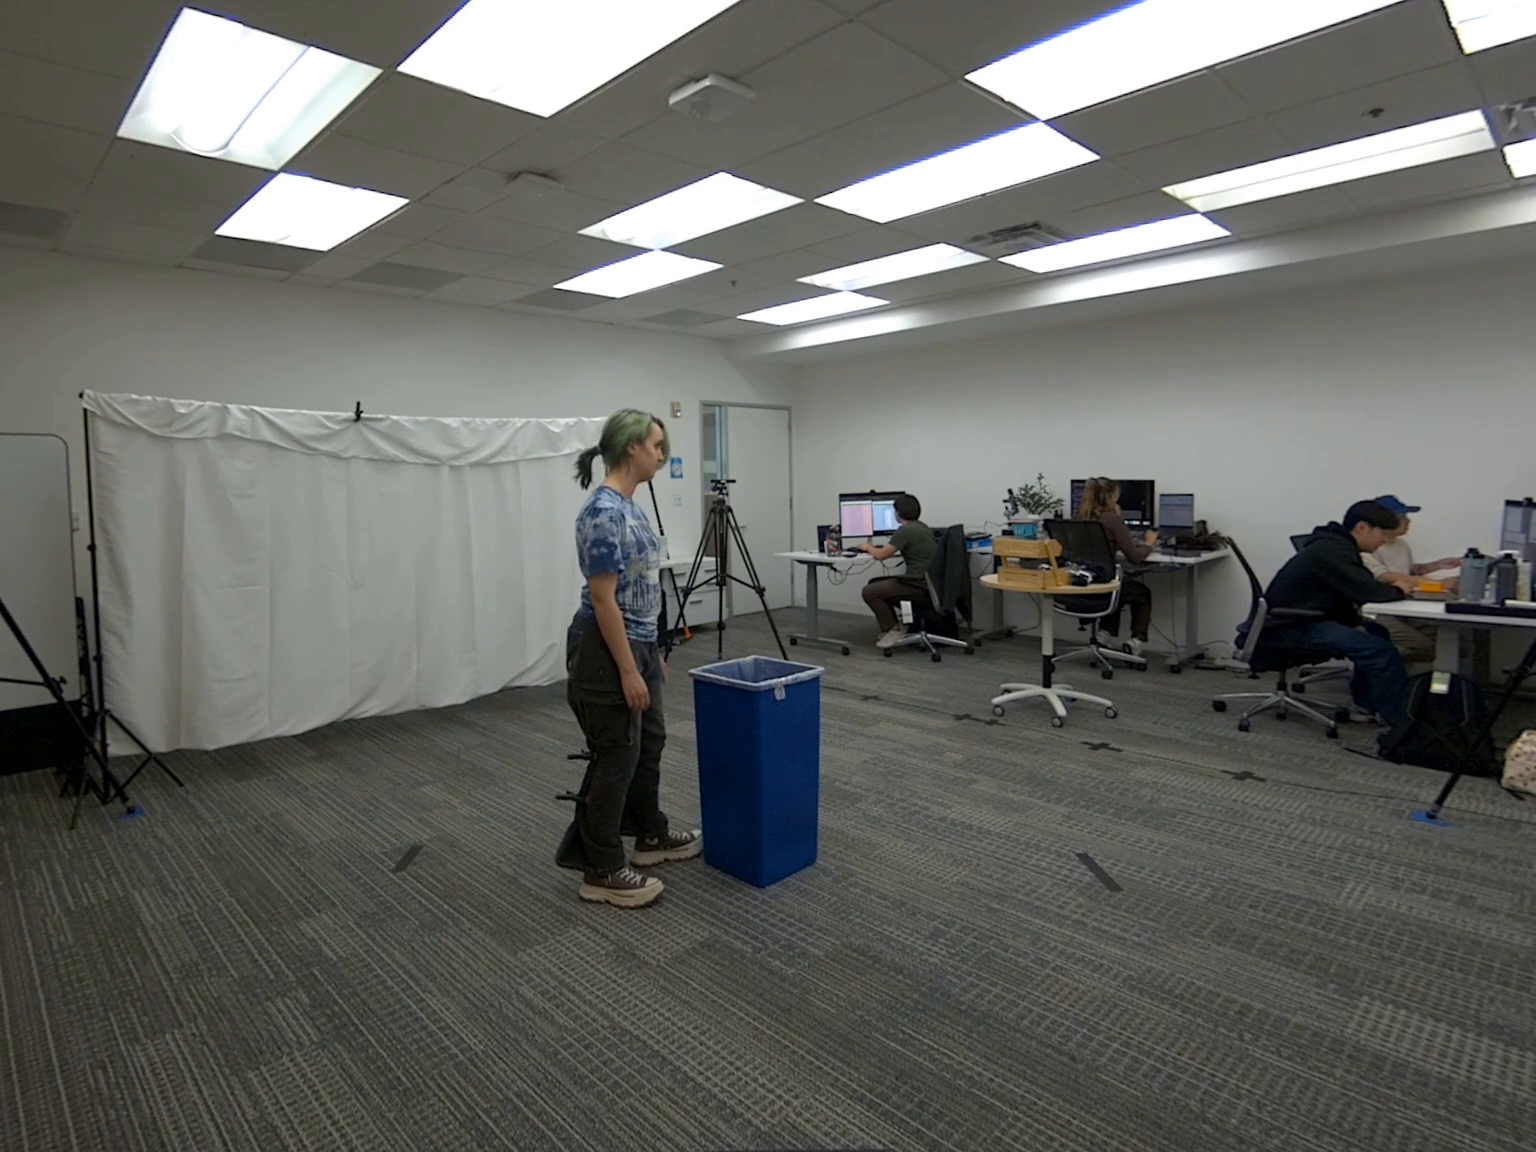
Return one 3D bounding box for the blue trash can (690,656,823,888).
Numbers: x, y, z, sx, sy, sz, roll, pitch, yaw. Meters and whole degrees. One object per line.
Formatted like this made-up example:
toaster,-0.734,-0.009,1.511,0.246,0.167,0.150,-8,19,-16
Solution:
blue trash can,-0.037,0.689,3.108,0.385,0.711,0.368,3,5,44
